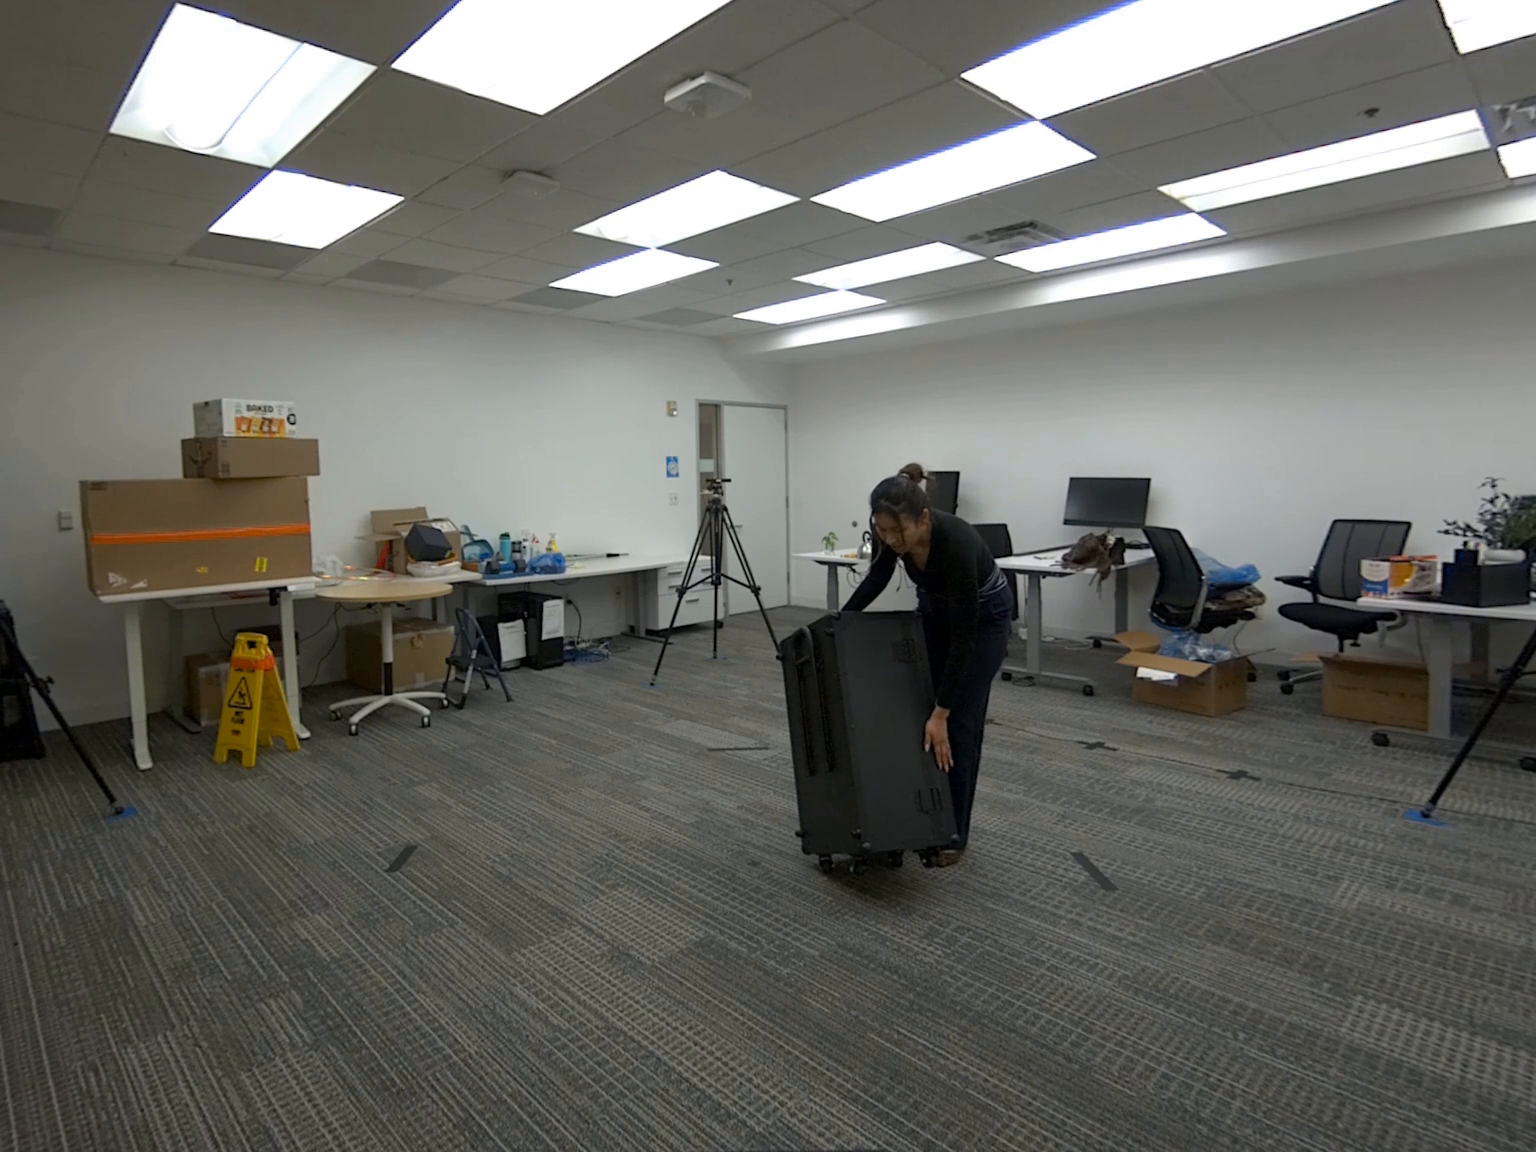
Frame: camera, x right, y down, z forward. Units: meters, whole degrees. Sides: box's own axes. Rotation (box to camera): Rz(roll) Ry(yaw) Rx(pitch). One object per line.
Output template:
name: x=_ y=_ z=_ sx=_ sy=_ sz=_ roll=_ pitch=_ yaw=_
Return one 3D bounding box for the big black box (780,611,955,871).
big black box: x=0.330 y=0.598 z=3.044 sx=0.389 sy=0.877 sz=0.522 roll=1 pitch=-19 yaw=-21
